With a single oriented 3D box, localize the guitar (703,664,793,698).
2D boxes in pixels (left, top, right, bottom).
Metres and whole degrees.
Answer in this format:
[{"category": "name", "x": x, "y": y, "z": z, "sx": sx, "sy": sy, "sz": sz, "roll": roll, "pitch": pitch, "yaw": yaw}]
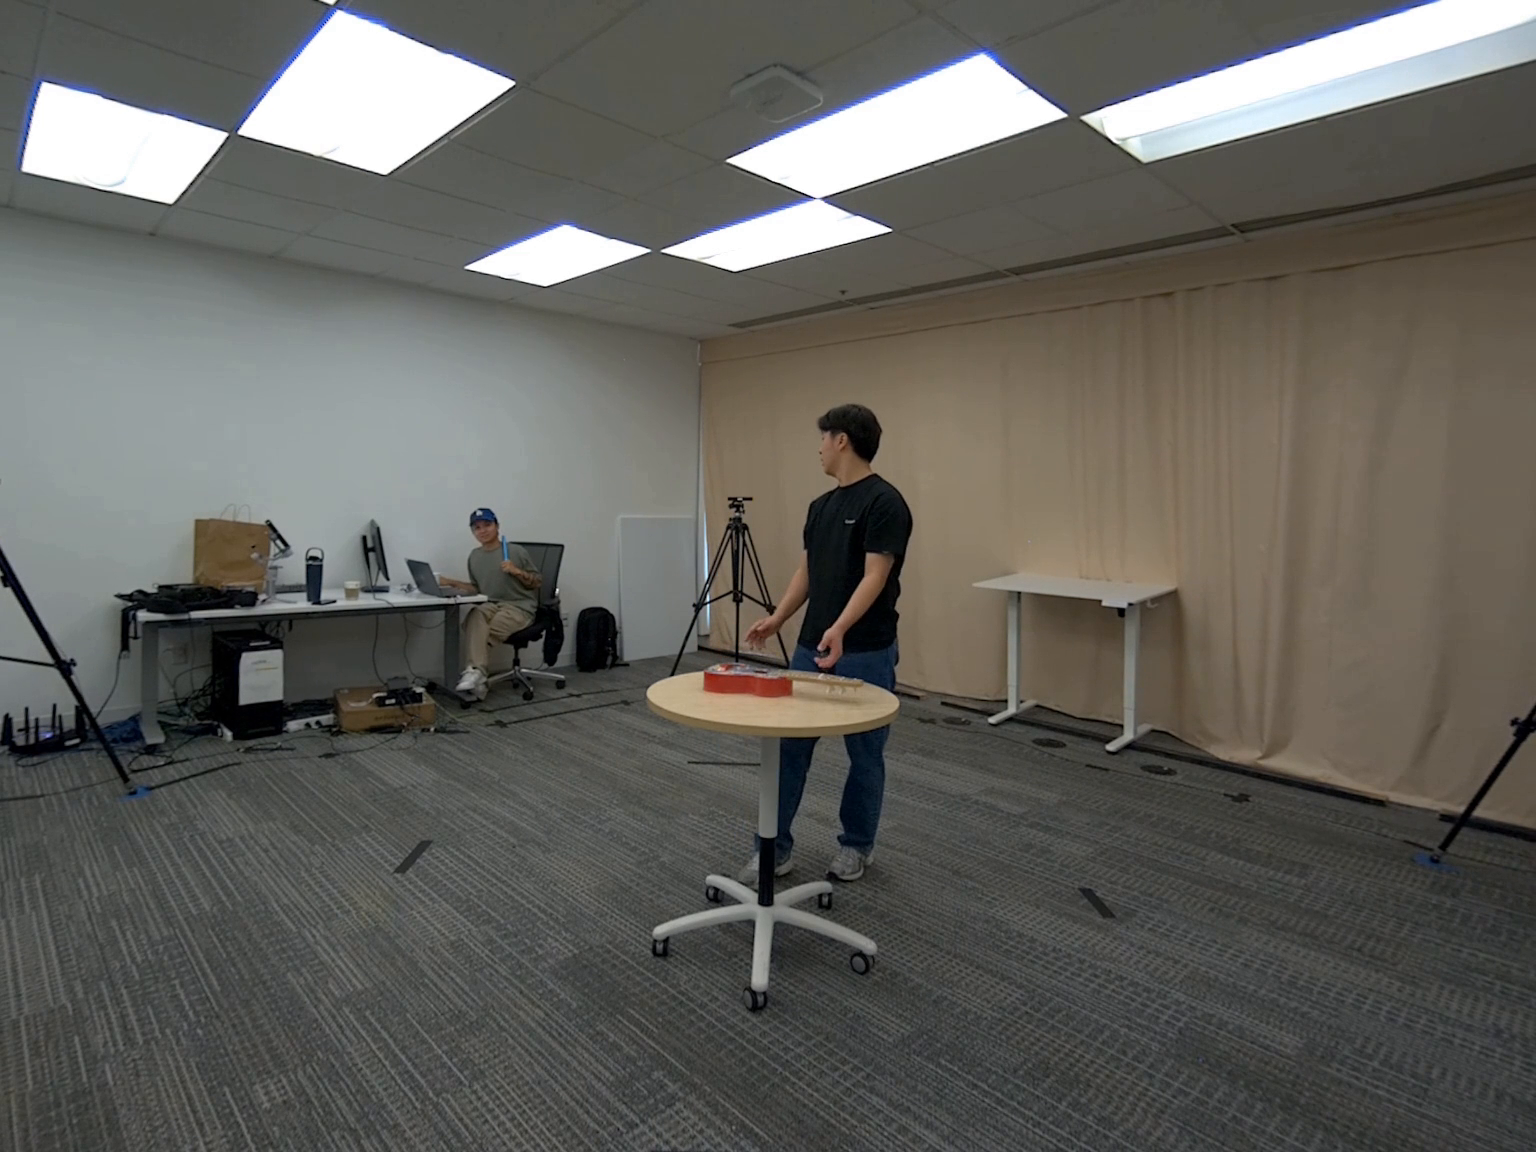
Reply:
[{"category": "guitar", "x": 0.025, "y": 0.333, "z": 2.556, "sx": 0.509, "sy": 0.070, "sz": 0.189, "roll": 4, "pitch": 5, "yaw": 31}]
